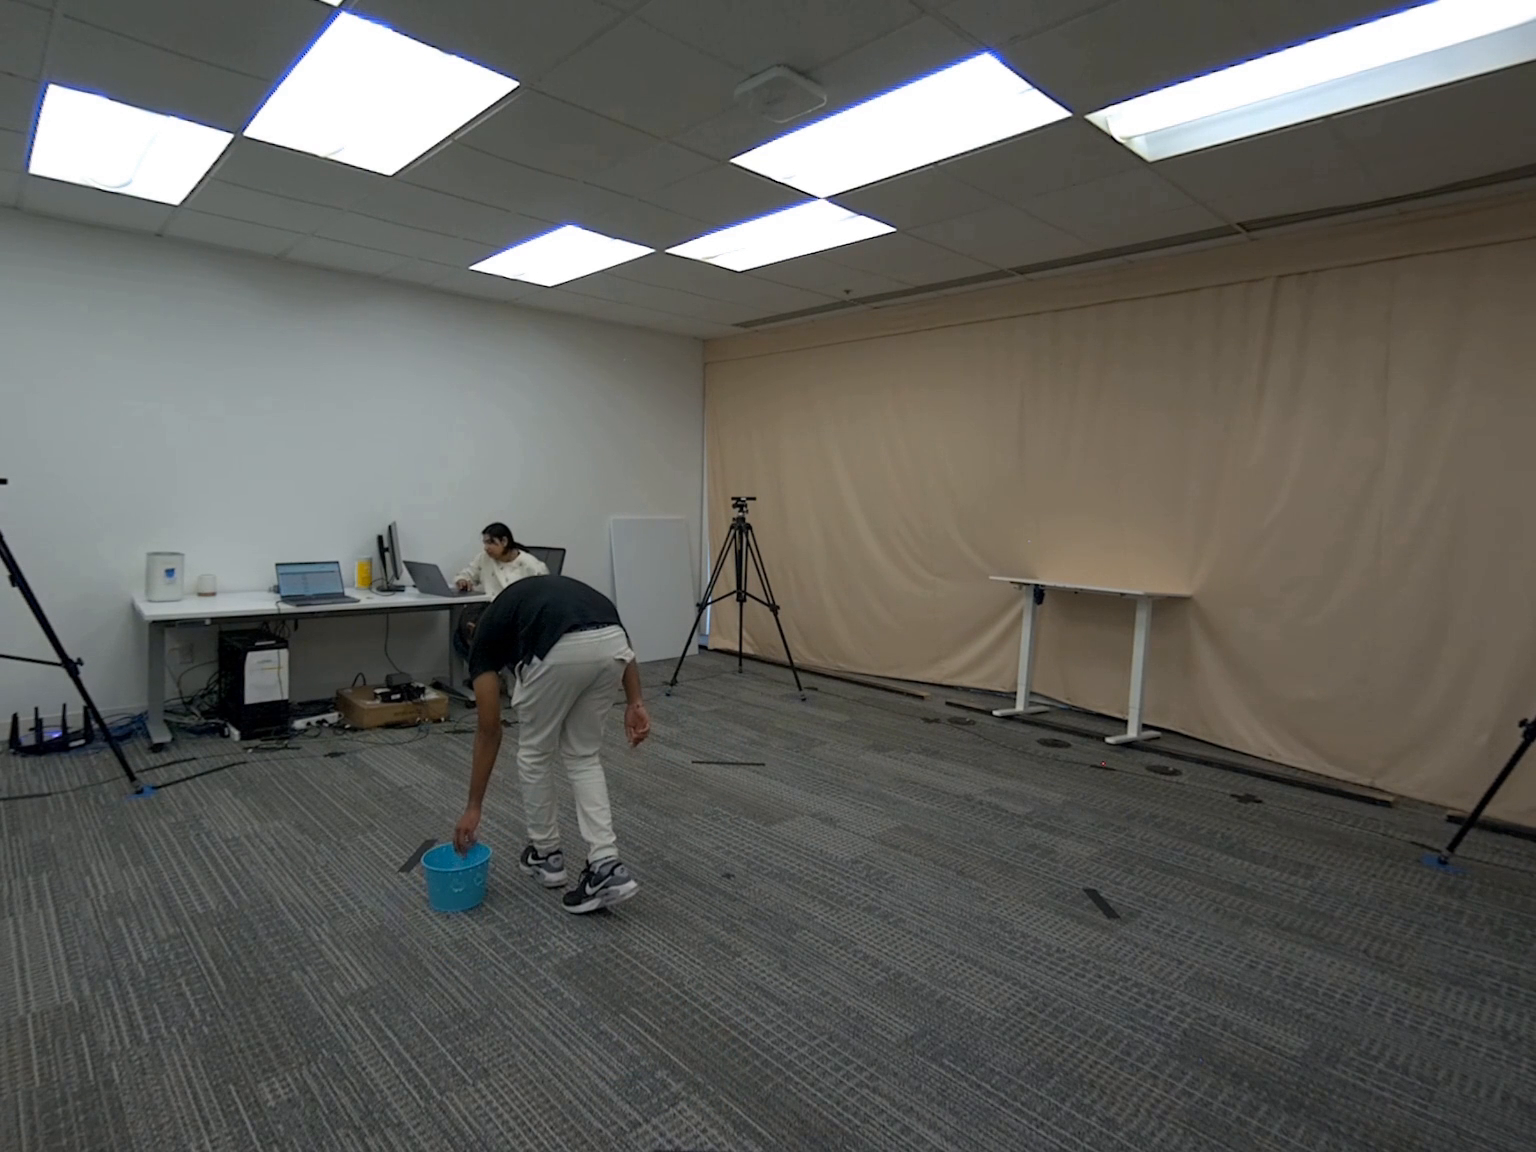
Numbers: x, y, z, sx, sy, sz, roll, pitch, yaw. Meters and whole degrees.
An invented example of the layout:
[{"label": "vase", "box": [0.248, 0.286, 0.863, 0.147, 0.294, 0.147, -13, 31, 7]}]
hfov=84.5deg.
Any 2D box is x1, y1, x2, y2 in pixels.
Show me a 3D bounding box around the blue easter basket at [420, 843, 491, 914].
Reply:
[{"label": "blue easter basket", "box": [-1.067, 1.028, 2.889, 0.243, 0.155, 0.244, 1, 4, -1]}]
